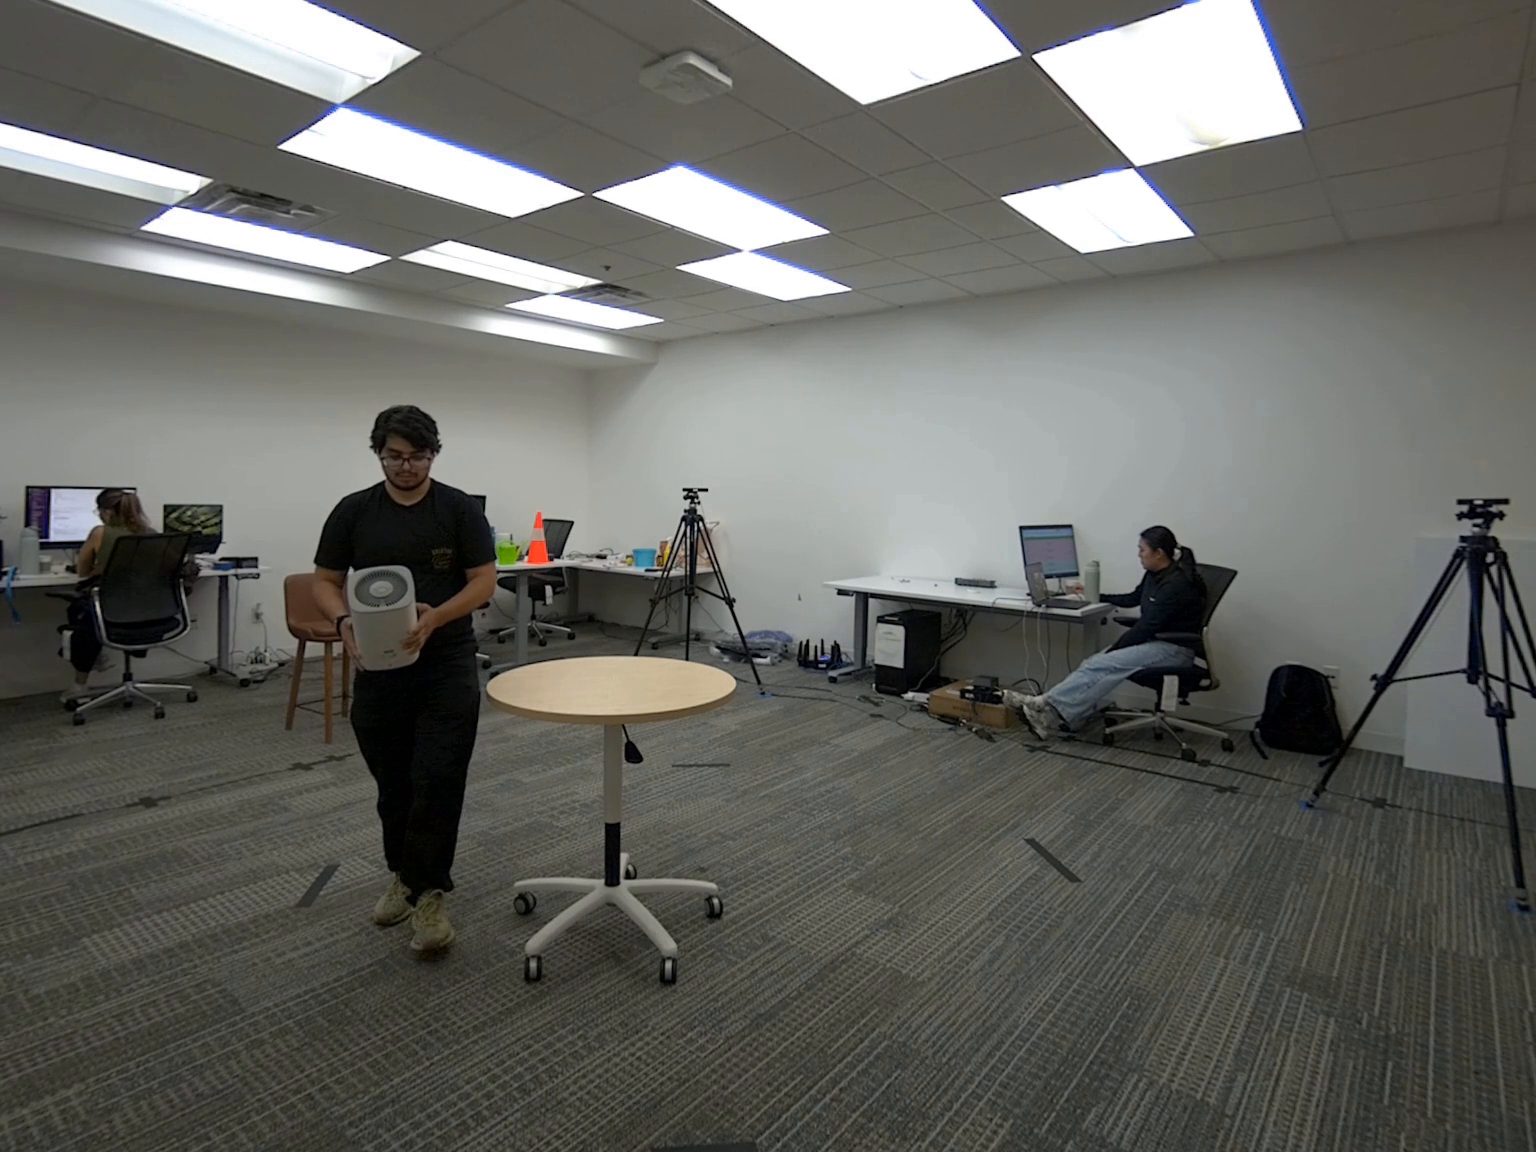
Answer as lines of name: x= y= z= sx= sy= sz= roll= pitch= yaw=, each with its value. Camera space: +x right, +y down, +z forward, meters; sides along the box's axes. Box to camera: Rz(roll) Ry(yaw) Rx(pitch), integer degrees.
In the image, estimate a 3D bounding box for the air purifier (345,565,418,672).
air purifier: x=-1.106 y=0.122 z=2.421 sx=0.165 sy=0.257 sz=0.180 roll=-3 pitch=45 yaw=-21
